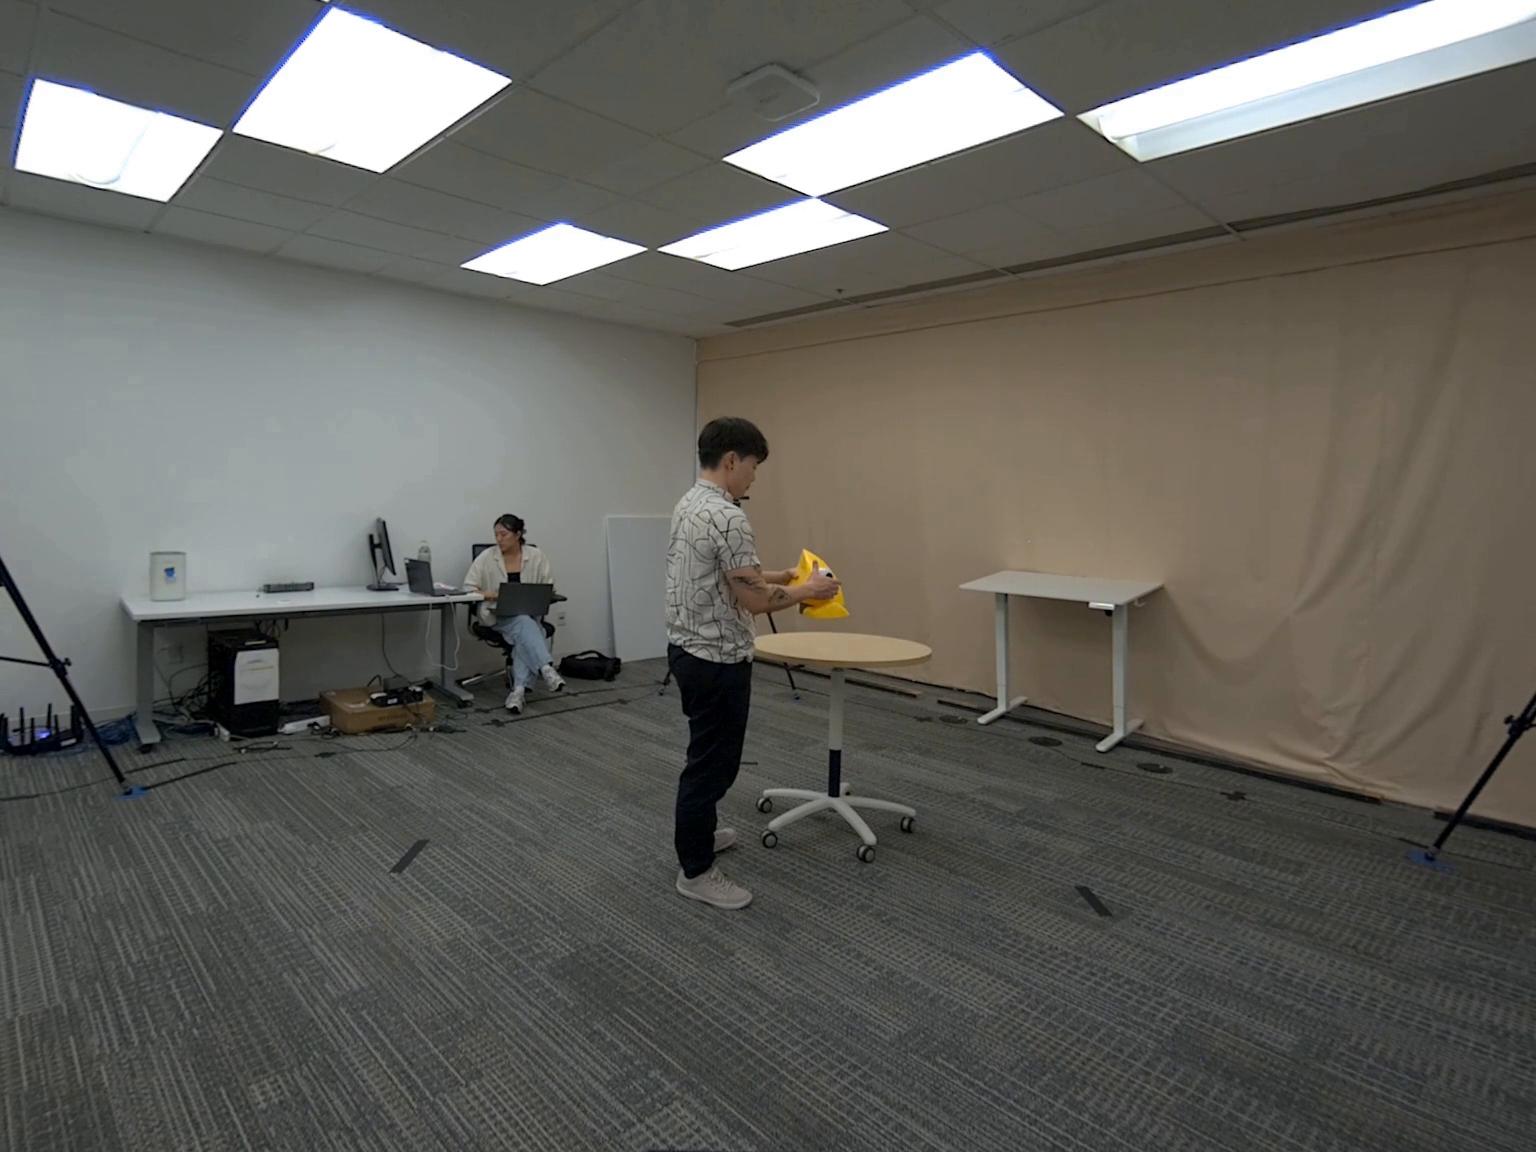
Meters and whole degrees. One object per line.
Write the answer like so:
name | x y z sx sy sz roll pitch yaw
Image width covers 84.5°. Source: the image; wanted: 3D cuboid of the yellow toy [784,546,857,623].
yellow toy | 0.178 0.024 2.977 0.191 0.229 0.208 -2 7 -15
